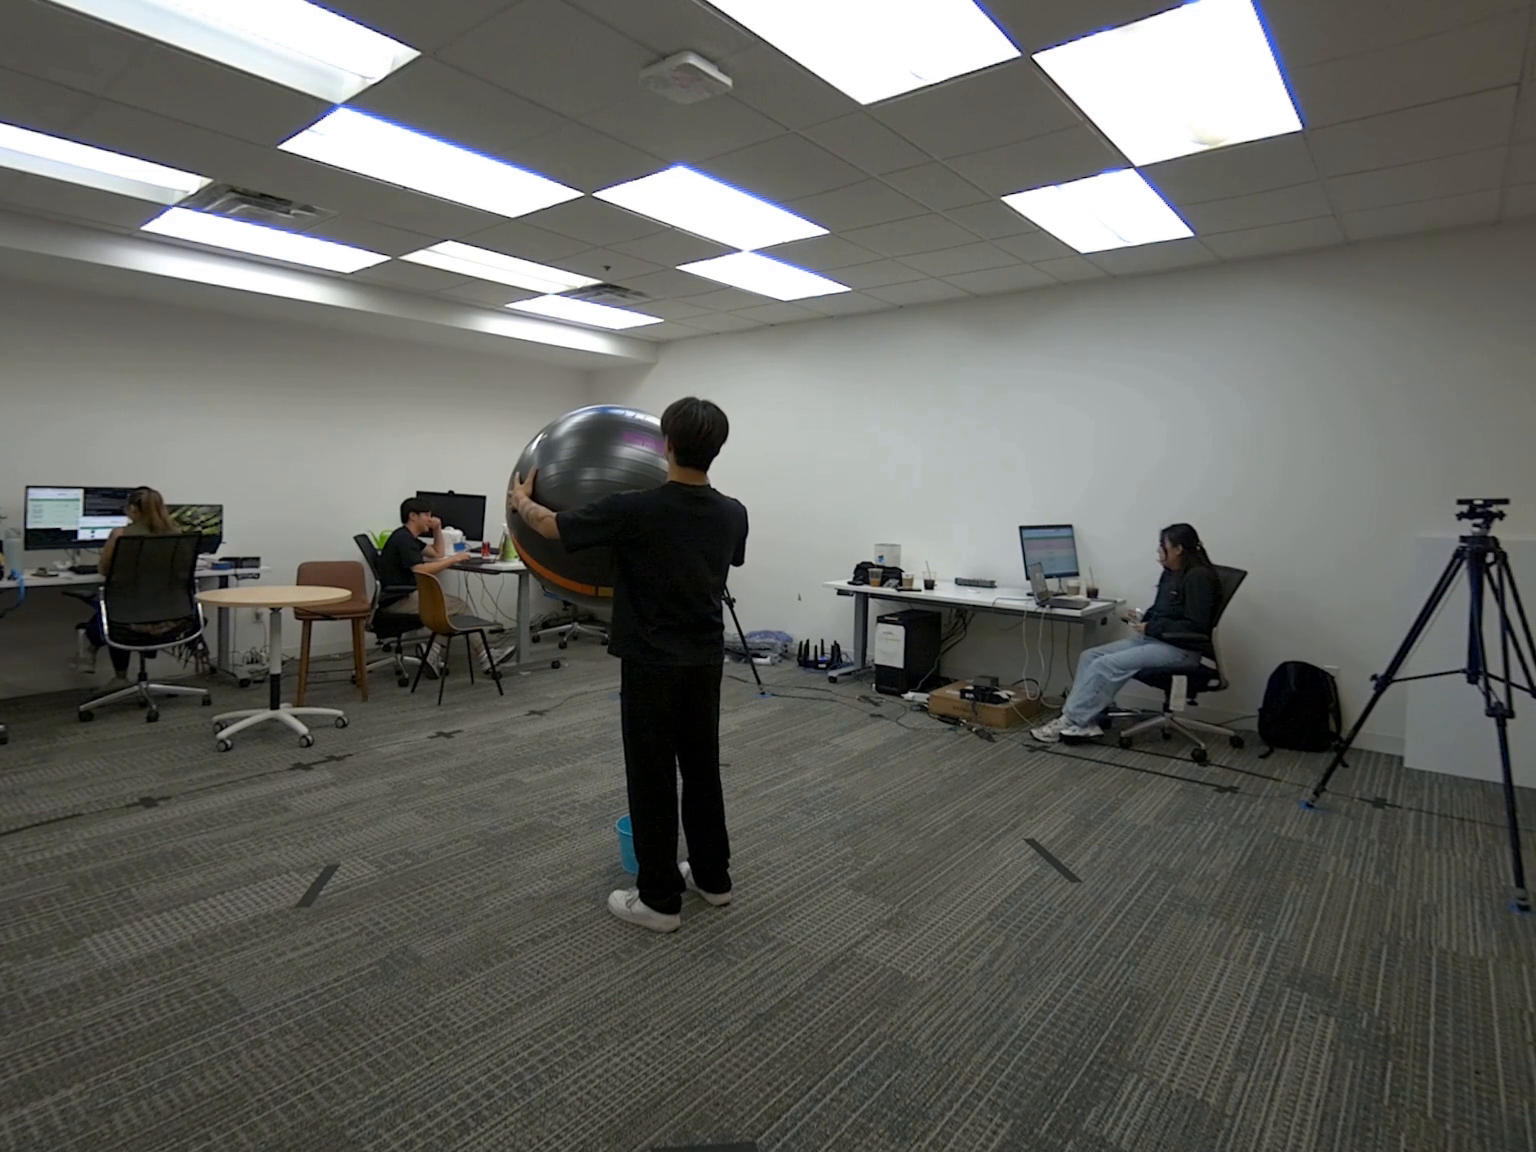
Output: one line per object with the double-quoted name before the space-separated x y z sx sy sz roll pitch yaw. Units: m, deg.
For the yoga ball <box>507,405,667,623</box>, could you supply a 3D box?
"yoga ball" -0.597 -0.249 3.179 0.757 0.756 0.761 1 4 -2
